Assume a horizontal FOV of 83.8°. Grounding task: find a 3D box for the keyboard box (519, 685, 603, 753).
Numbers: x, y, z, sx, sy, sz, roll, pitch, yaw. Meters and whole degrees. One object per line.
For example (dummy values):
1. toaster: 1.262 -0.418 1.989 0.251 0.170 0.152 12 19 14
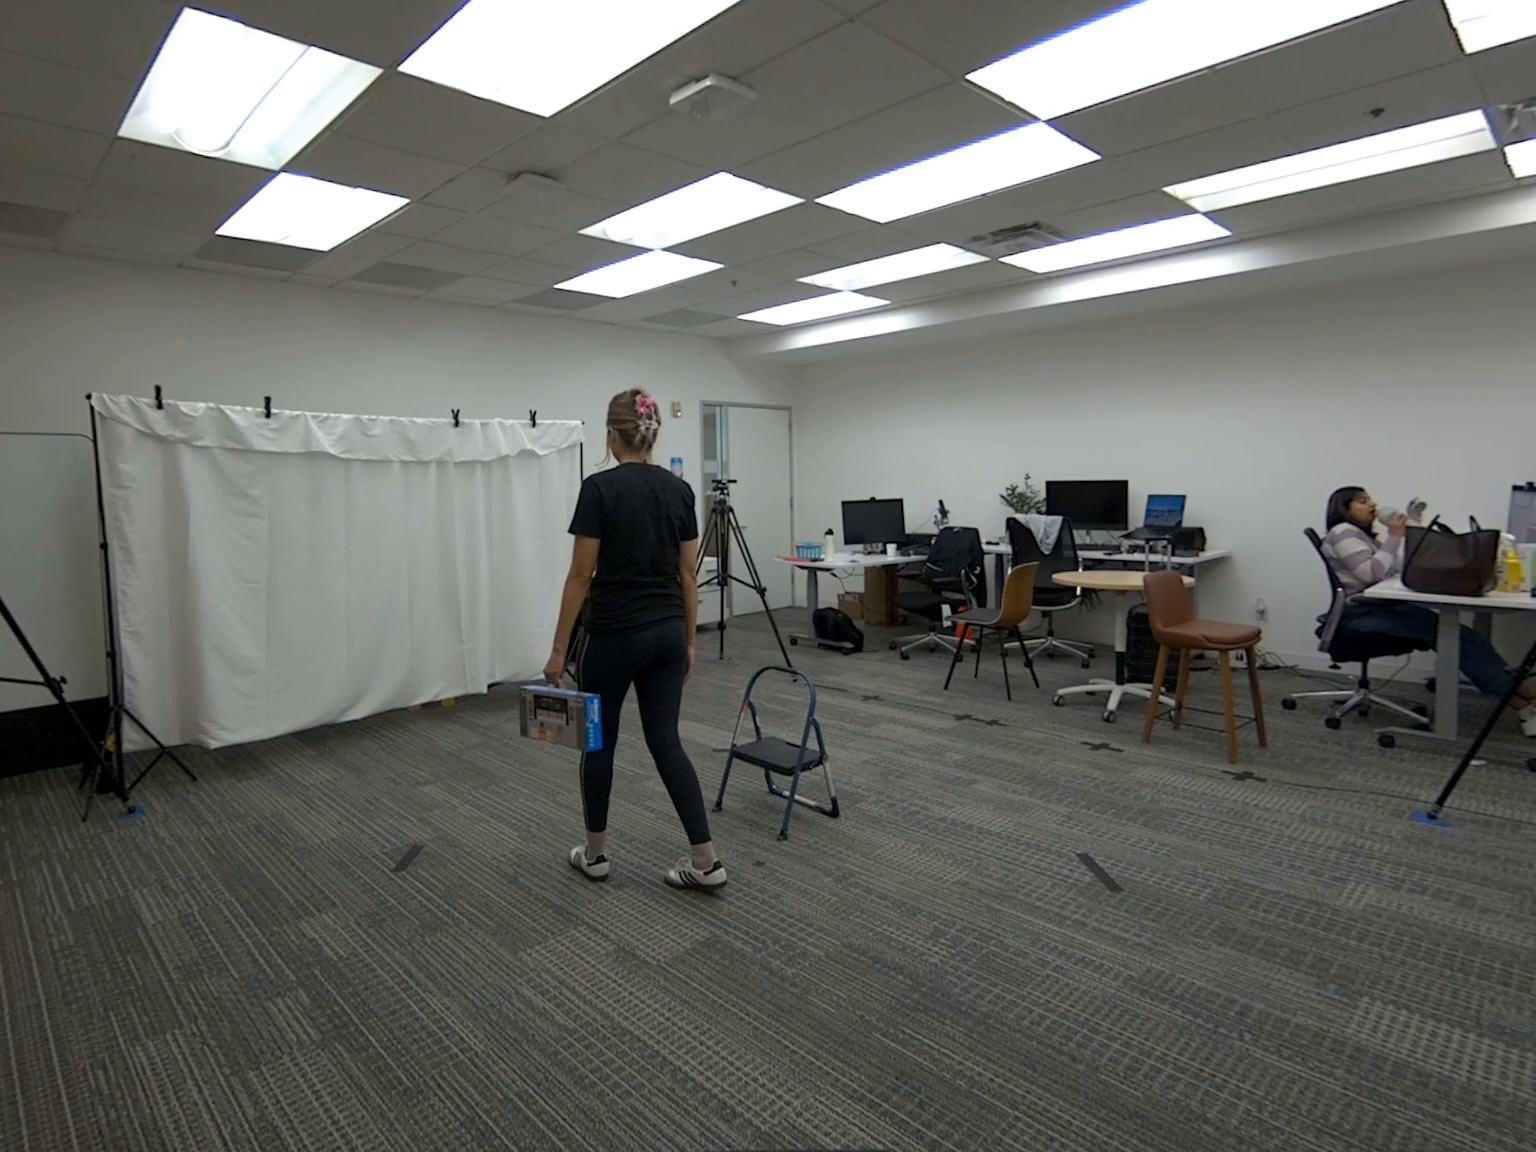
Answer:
1. keyboard box: -0.697 0.469 2.857 0.057 0.176 0.449 0 -1 -42
